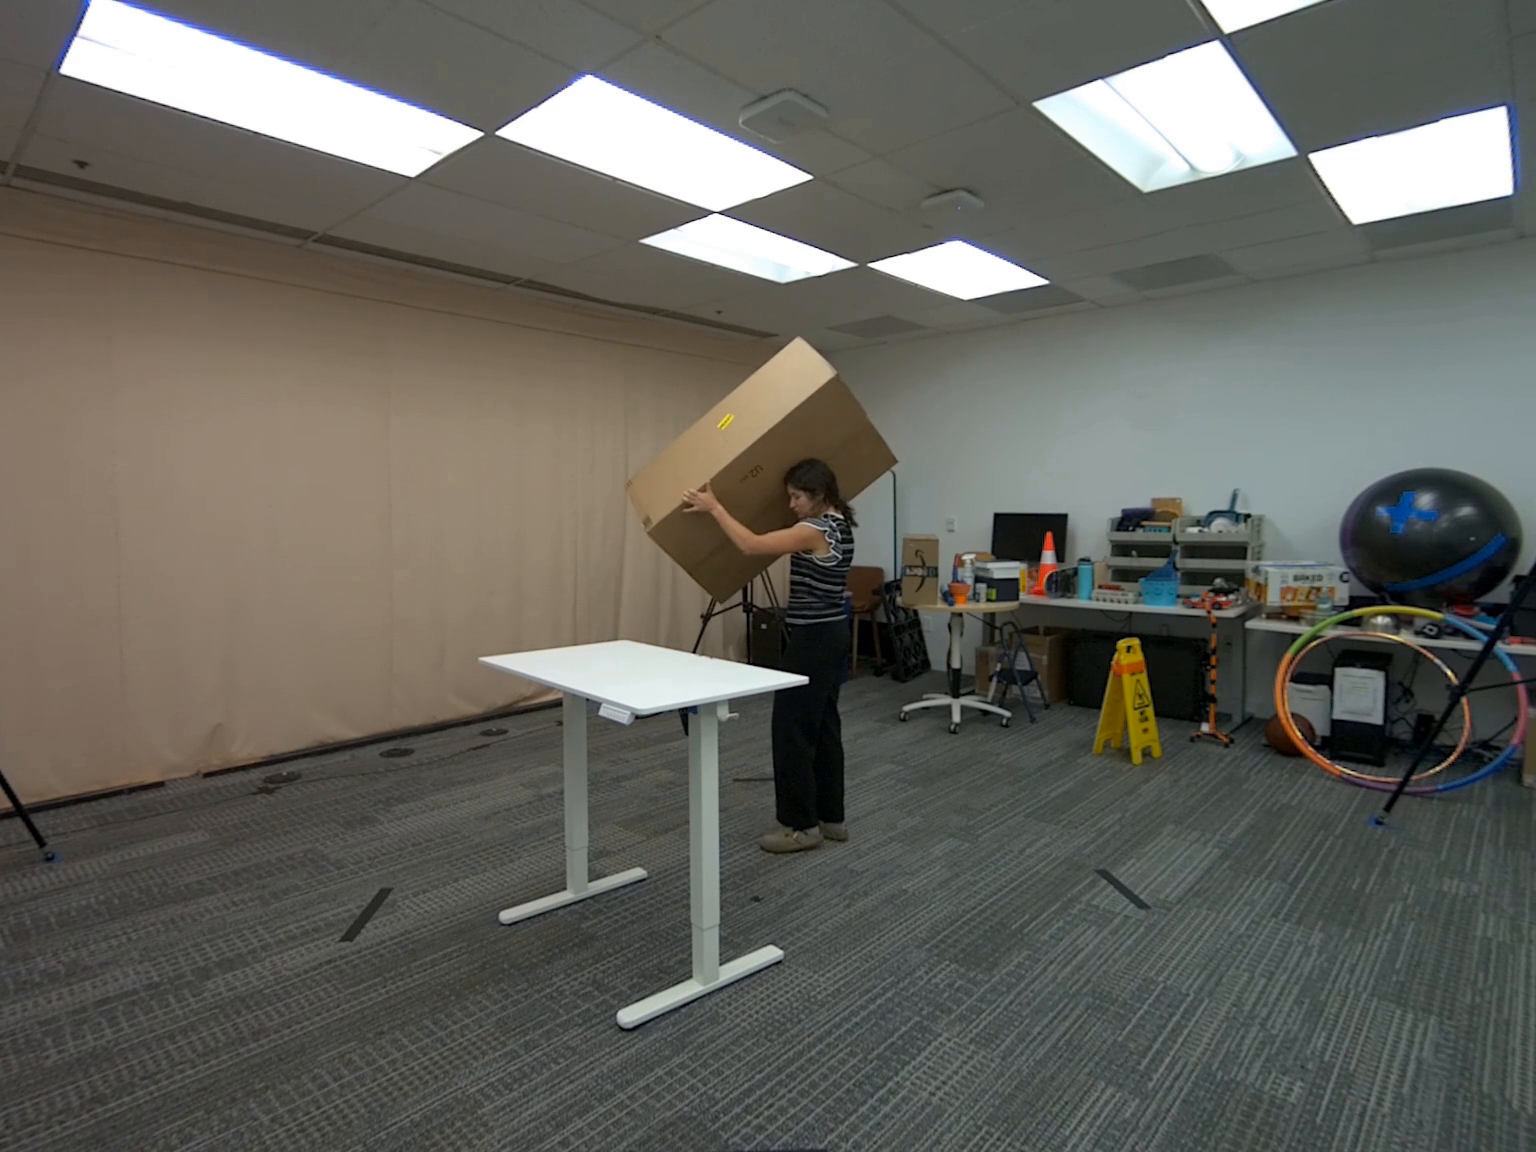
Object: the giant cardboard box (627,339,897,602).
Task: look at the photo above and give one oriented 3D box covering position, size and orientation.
[{"bbox_3d":[-0.037,-0.450,3.757,0.557,1.029,0.440,45,10,-39],"label":"giant cardboard box"}]
